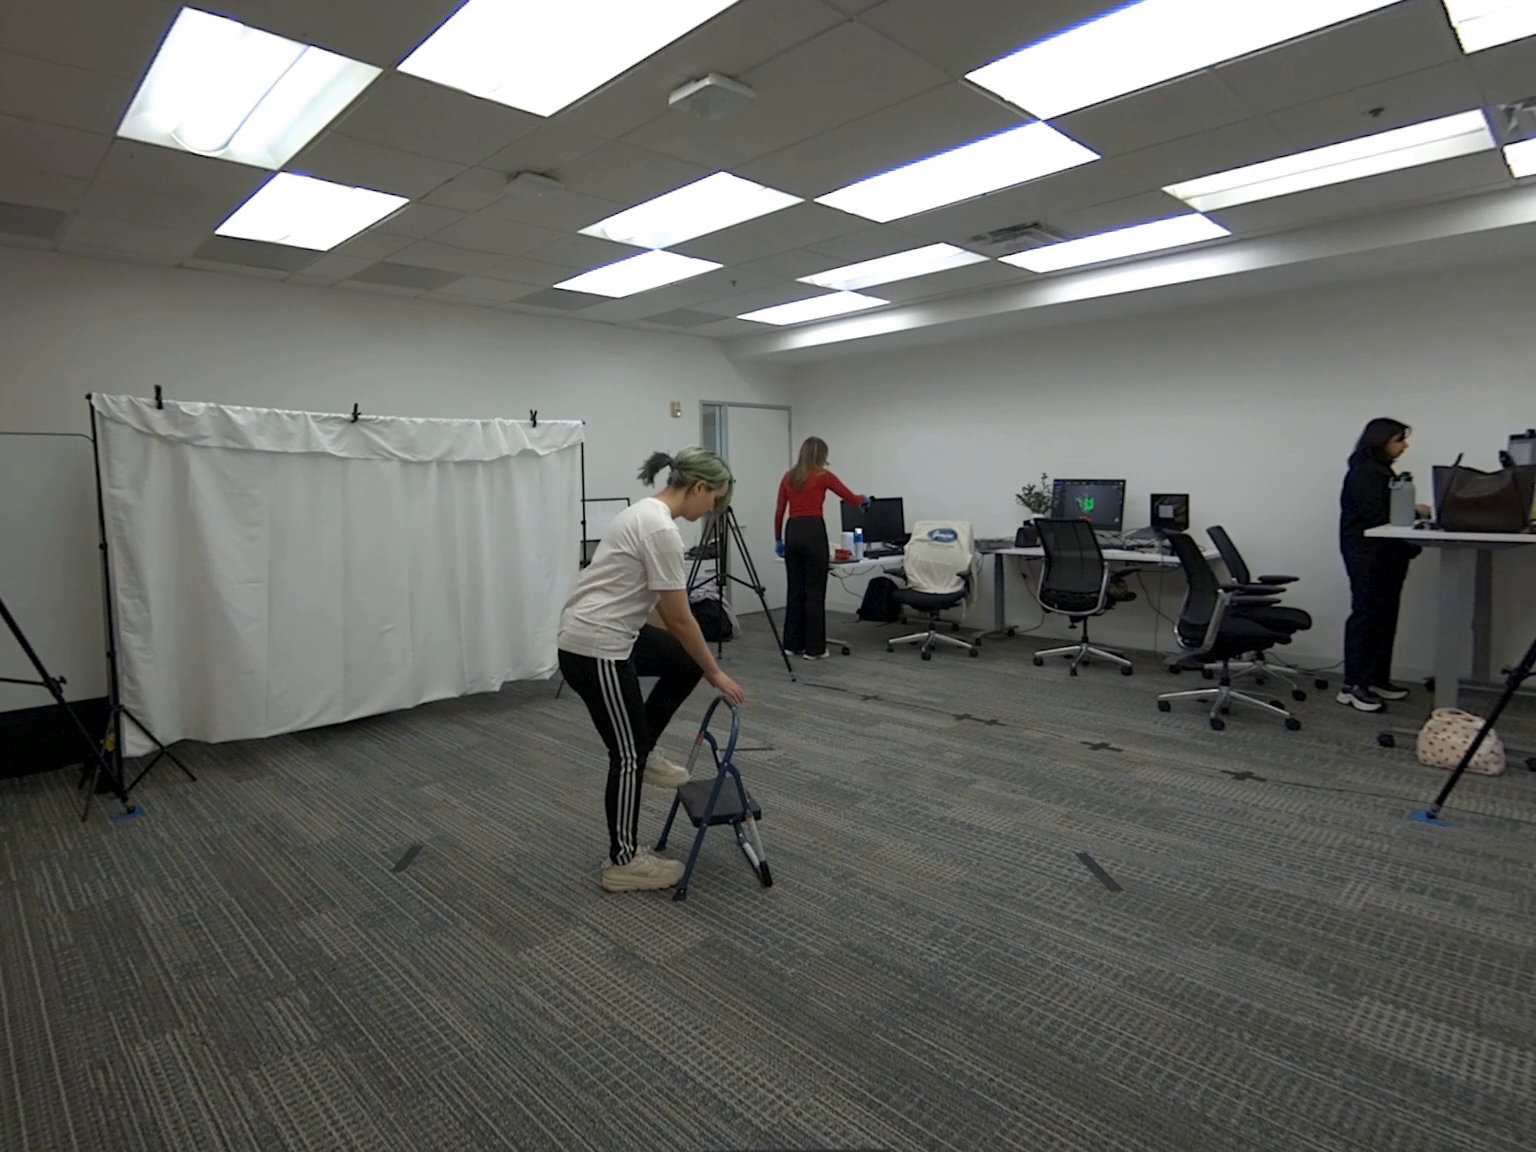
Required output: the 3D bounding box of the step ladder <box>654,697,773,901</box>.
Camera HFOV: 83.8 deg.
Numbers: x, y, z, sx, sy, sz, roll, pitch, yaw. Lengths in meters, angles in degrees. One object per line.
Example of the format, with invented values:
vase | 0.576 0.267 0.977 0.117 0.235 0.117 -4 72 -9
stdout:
step ladder | -0.206 0.752 3.073 0.344 0.604 0.438 -2 5 -15
